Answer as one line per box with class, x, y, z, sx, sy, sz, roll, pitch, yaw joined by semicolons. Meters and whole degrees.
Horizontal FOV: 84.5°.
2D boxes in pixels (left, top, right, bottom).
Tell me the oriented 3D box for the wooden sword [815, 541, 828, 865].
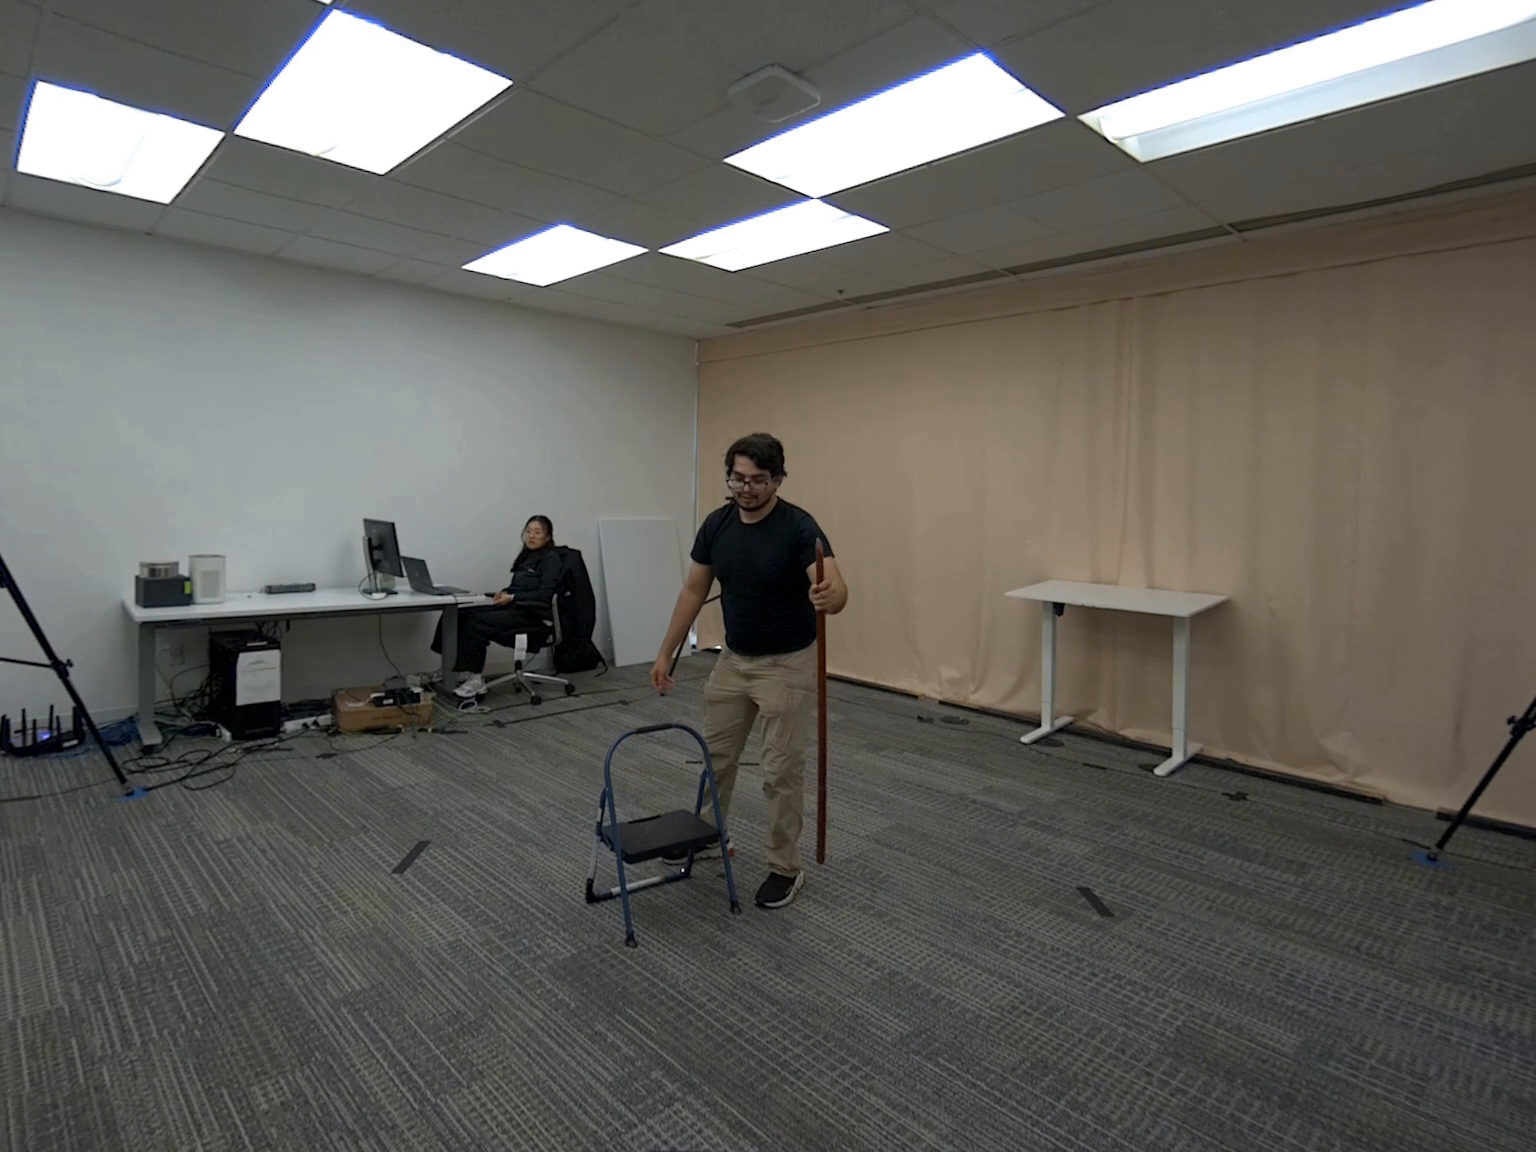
wooden sword;0.157;0.425;2.506;0.024;1.014;0.051;5;15;18
